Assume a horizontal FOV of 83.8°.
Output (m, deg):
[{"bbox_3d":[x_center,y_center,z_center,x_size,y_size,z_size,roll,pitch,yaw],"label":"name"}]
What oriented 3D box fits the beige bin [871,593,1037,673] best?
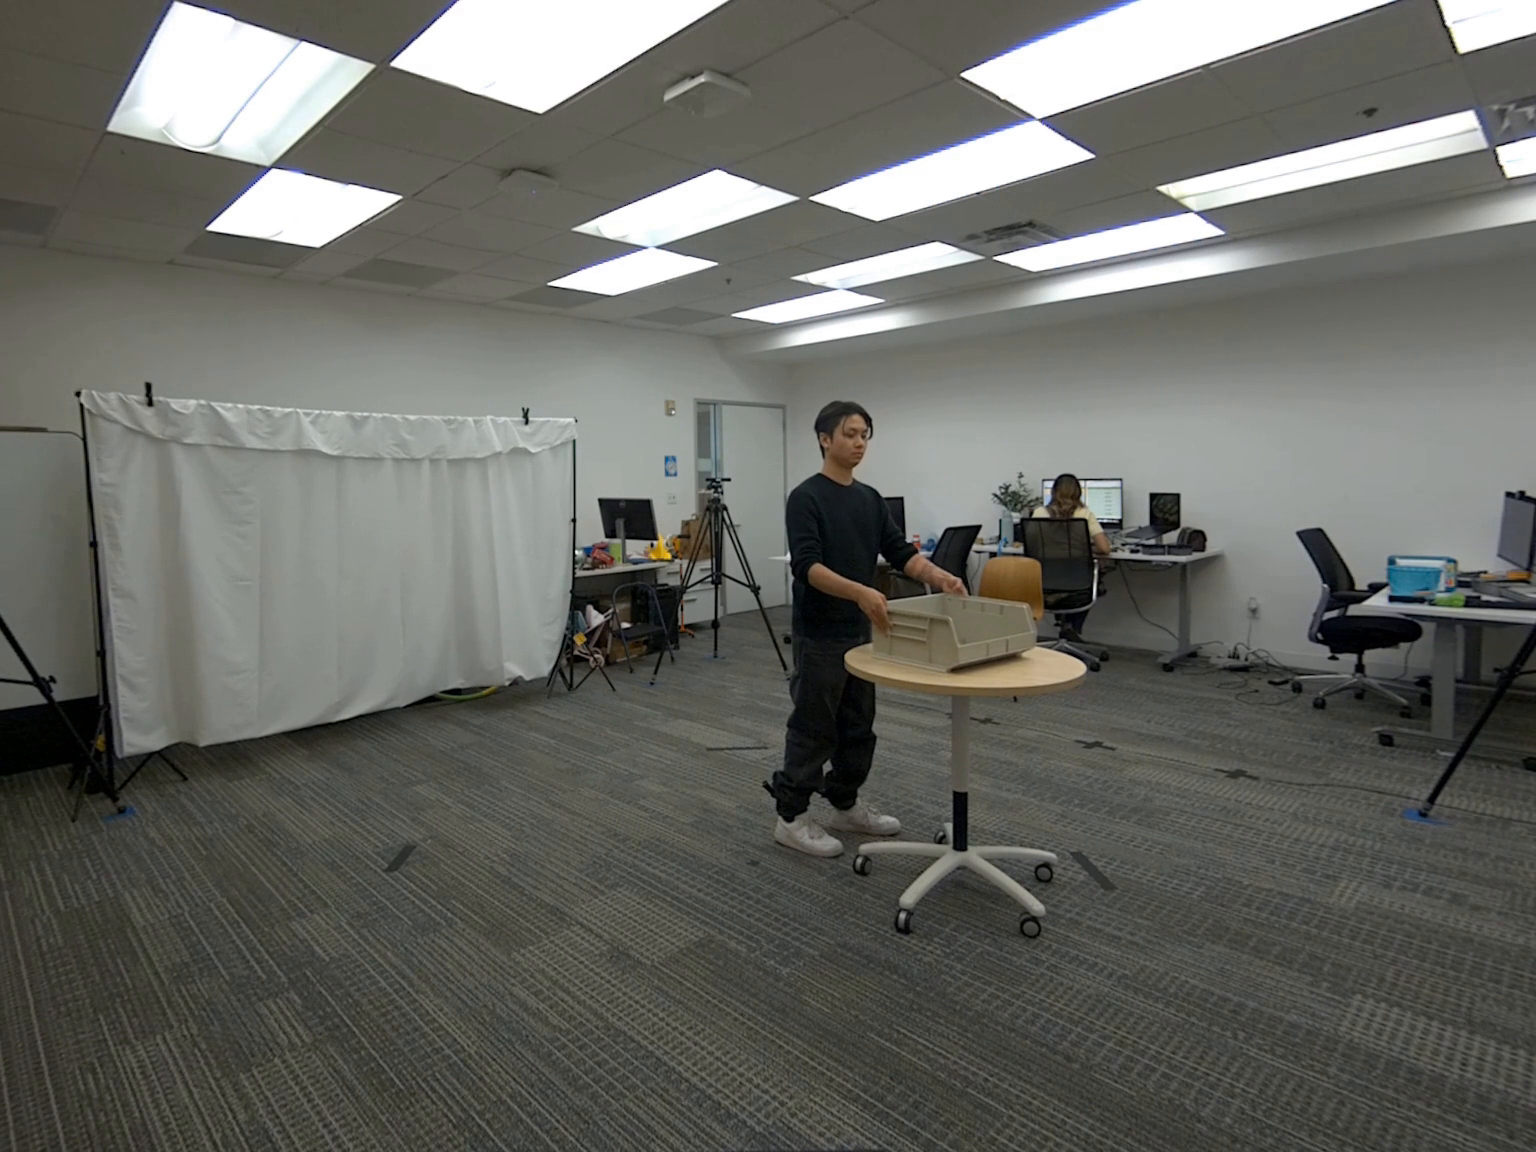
[{"bbox_3d":[0.609,0.182,2.859,0.411,0.188,0.388,-6,6,-39],"label":"beige bin"}]
